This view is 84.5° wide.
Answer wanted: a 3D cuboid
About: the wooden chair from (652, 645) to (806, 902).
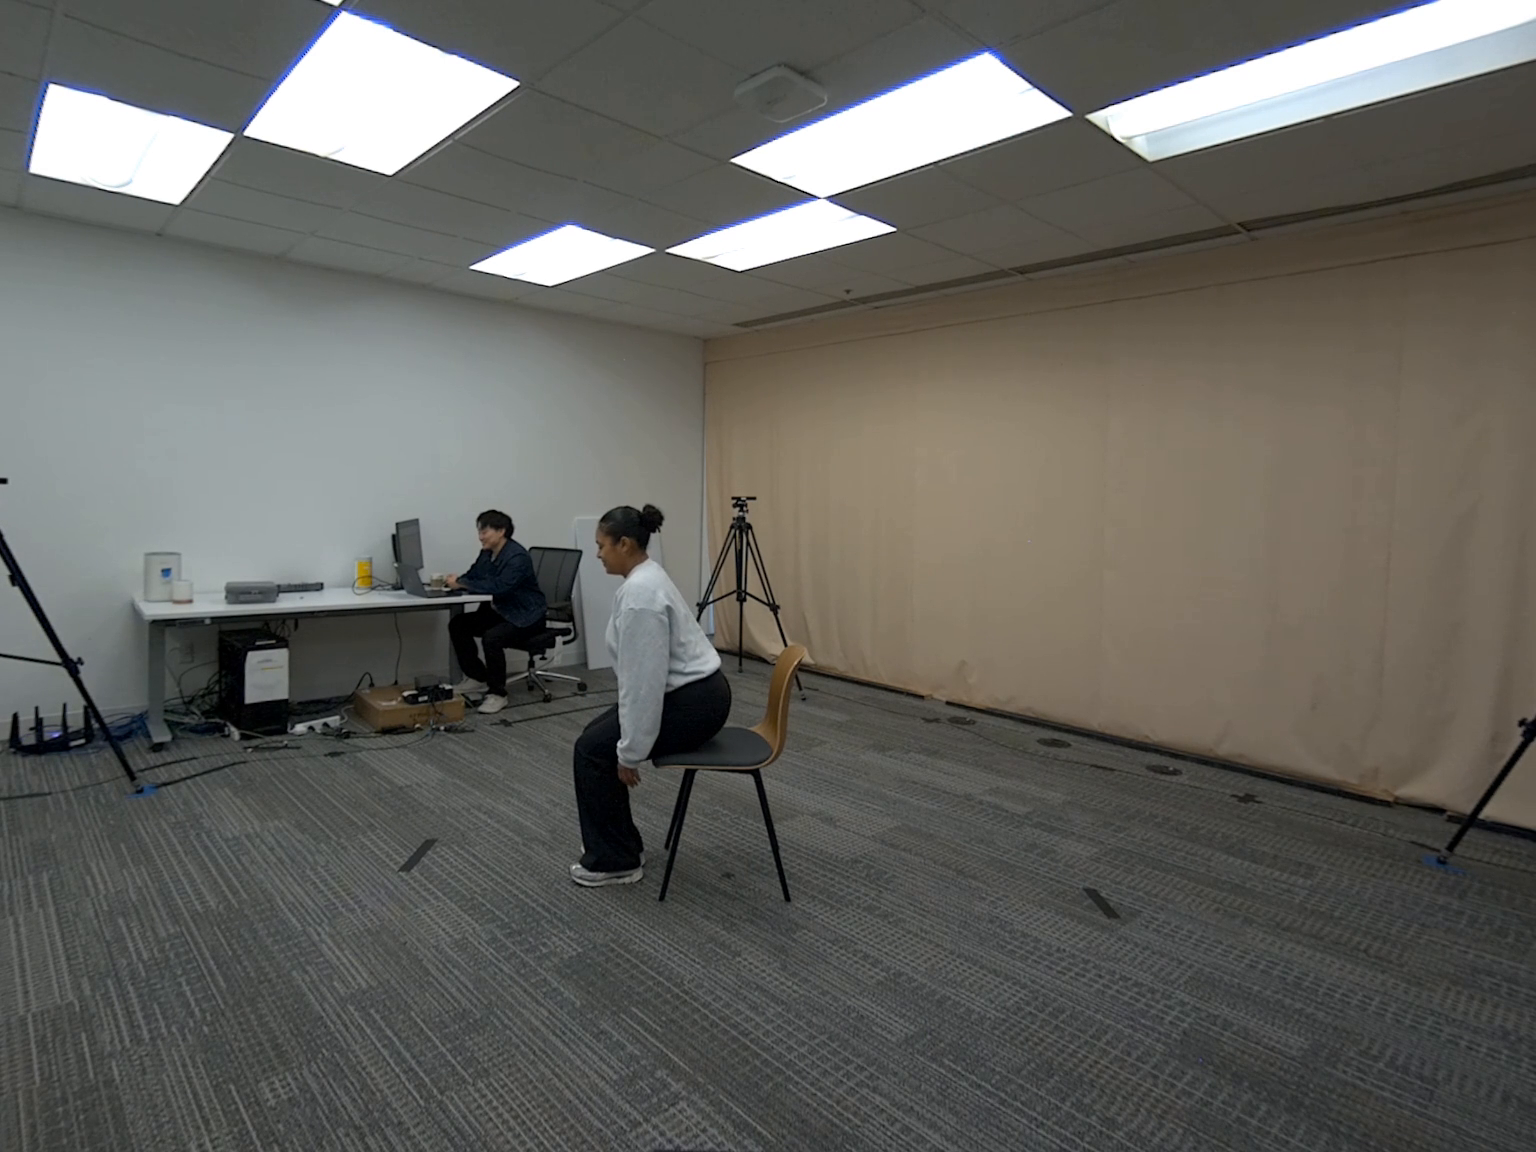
[{"bbox_3d":[-0.166,0.676,3.089,0.521,0.875,0.481,5,3,-4],"label":"wooden chair"}]
